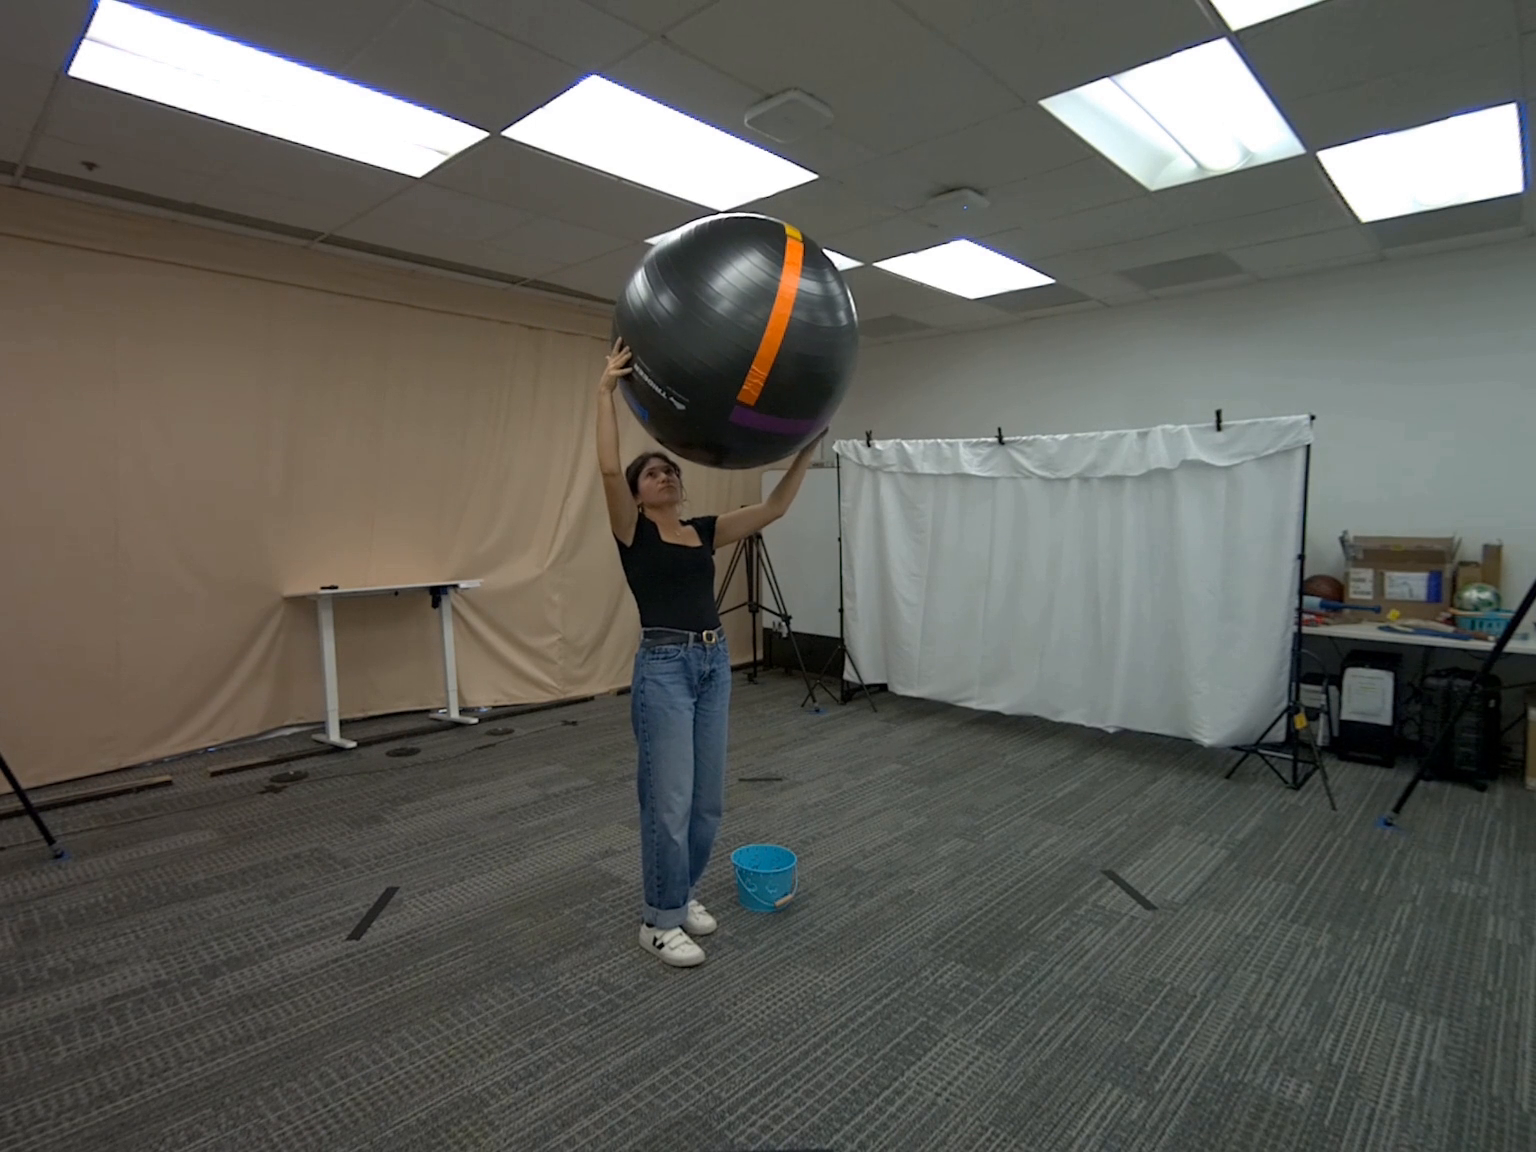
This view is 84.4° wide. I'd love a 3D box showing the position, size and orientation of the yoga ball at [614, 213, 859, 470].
[{"bbox_3d":[-0.102,-0.710,2.590,0.757,0.756,0.760,0,4,-2],"label":"yoga ball"}]
